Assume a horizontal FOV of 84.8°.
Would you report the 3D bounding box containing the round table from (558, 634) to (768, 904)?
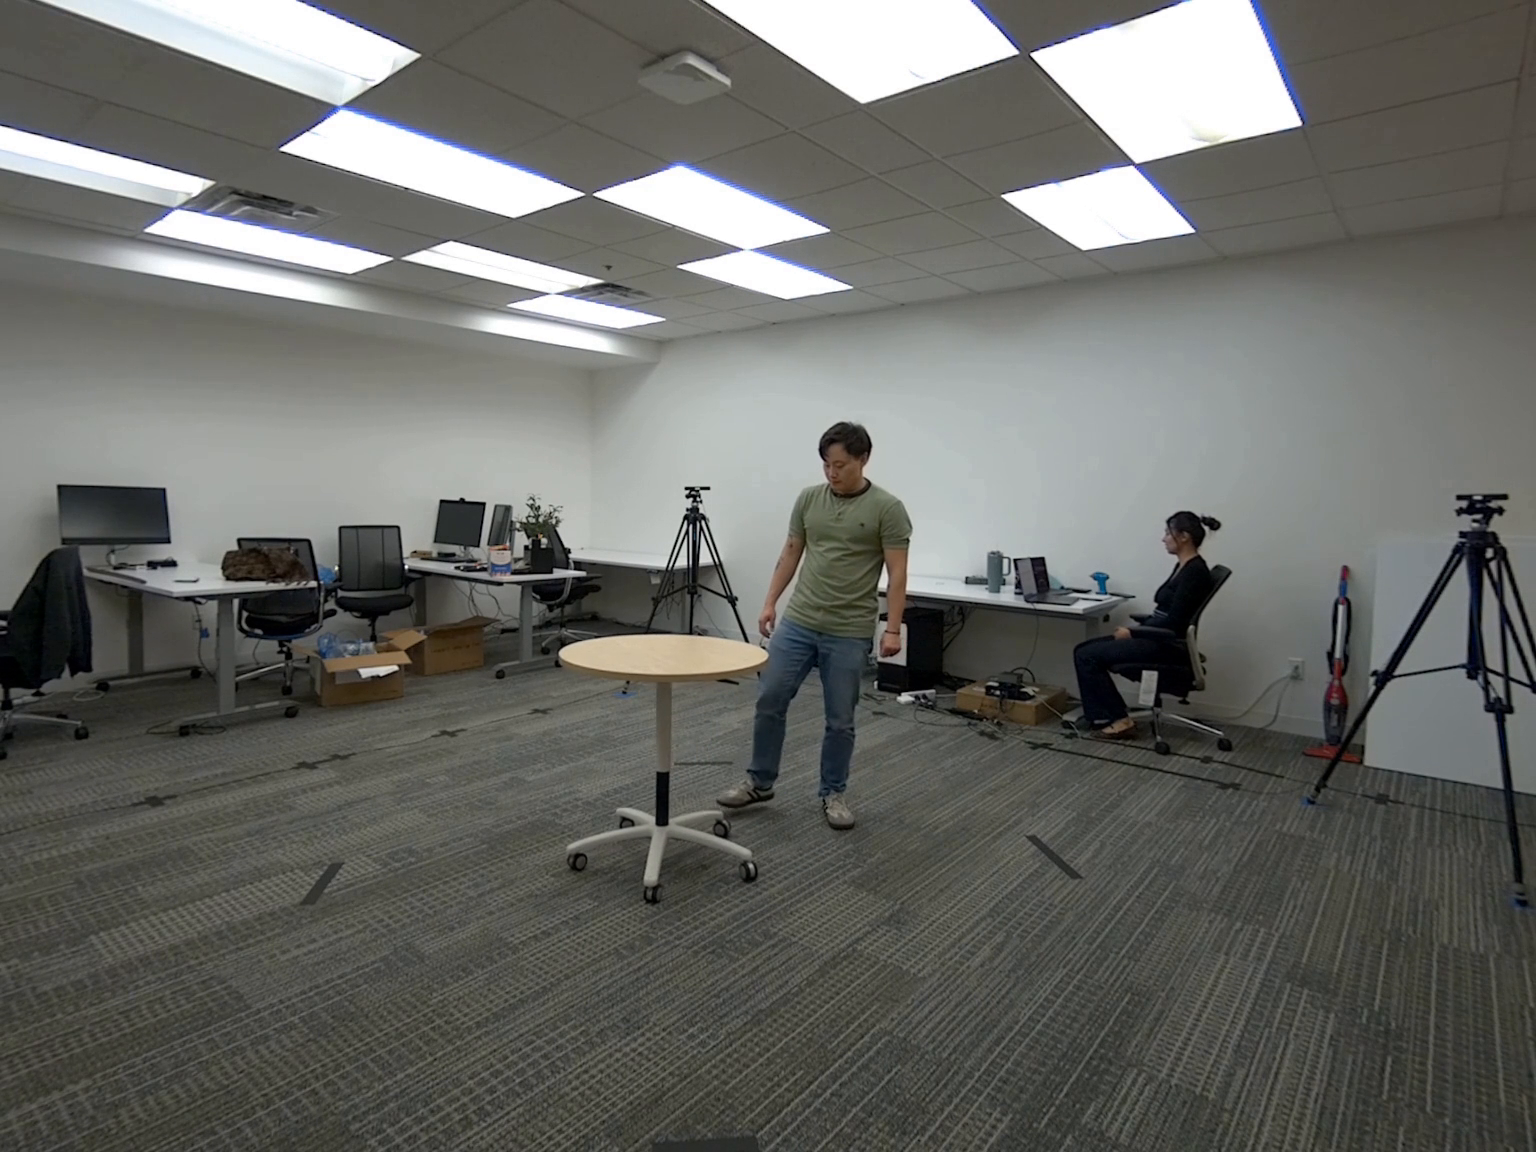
[{"bbox_3d":[-0.394,0.670,3.136,0.763,0.792,0.767,1,4,-2],"label":"round table"}]
